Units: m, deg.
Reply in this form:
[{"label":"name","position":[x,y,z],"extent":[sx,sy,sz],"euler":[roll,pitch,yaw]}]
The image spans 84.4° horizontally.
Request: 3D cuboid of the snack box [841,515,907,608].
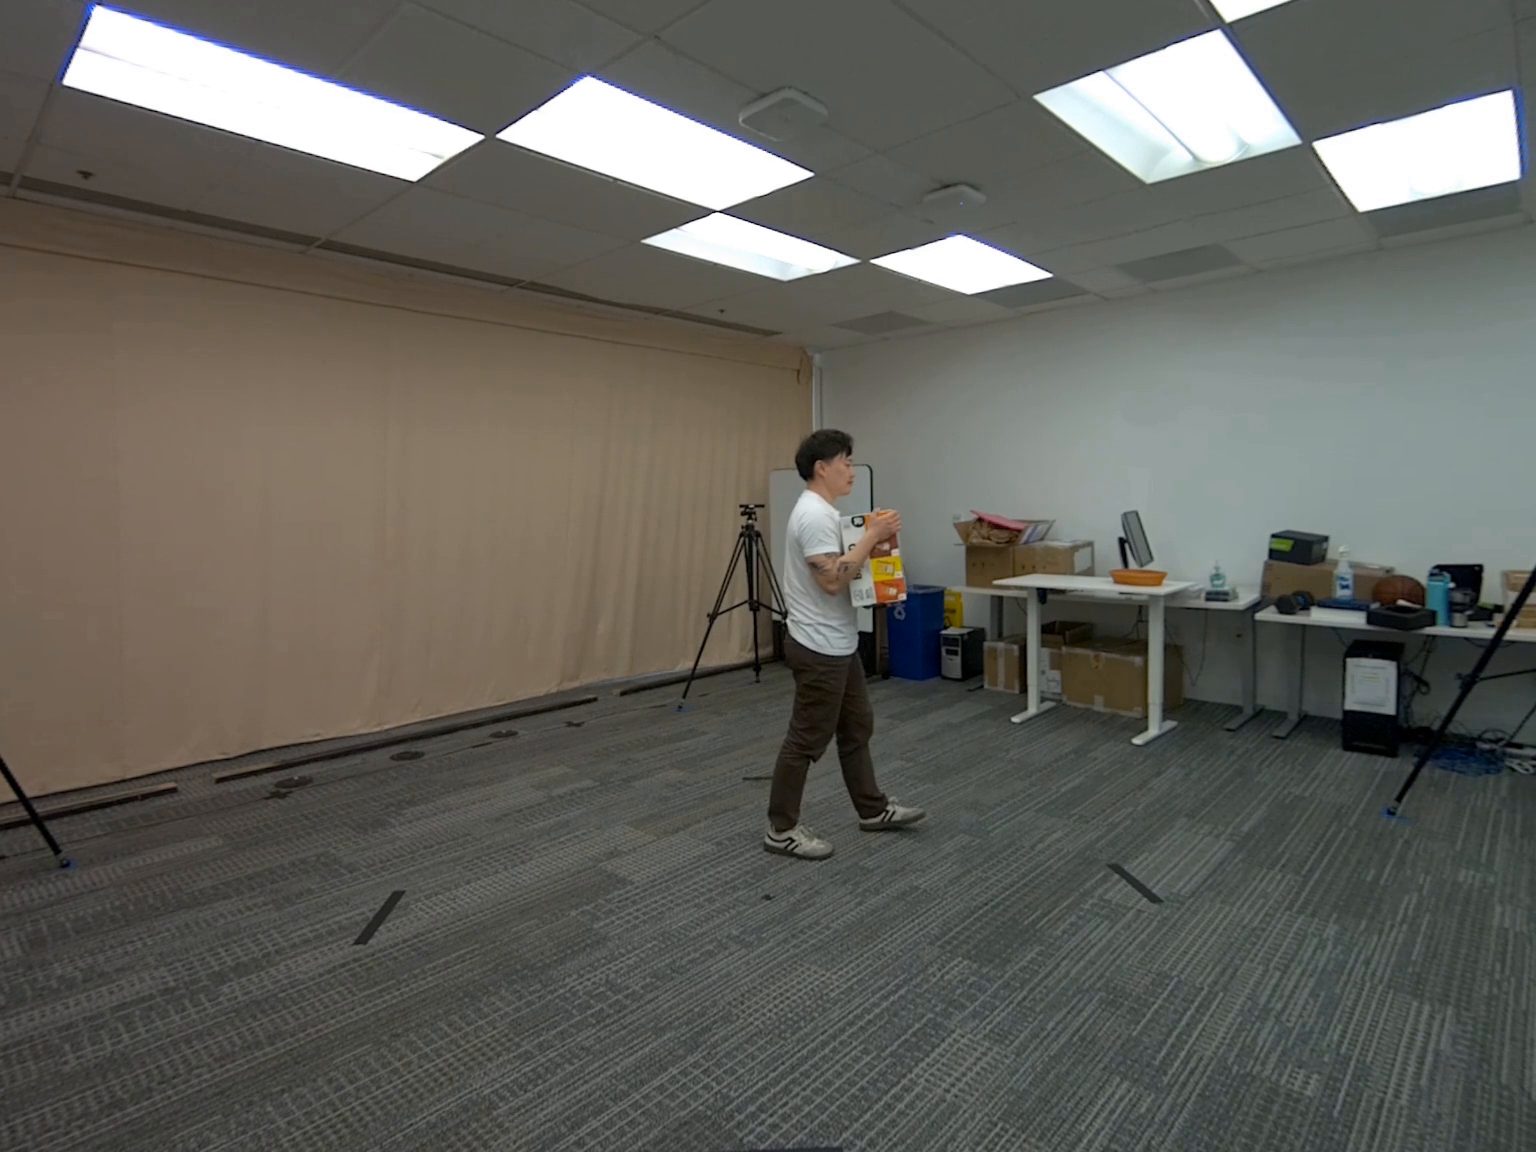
[{"label":"snack box","position":[0.428,-0.072,3.336],"extent":[0.208,0.341,0.400],"euler":[-8,-1,11]}]
